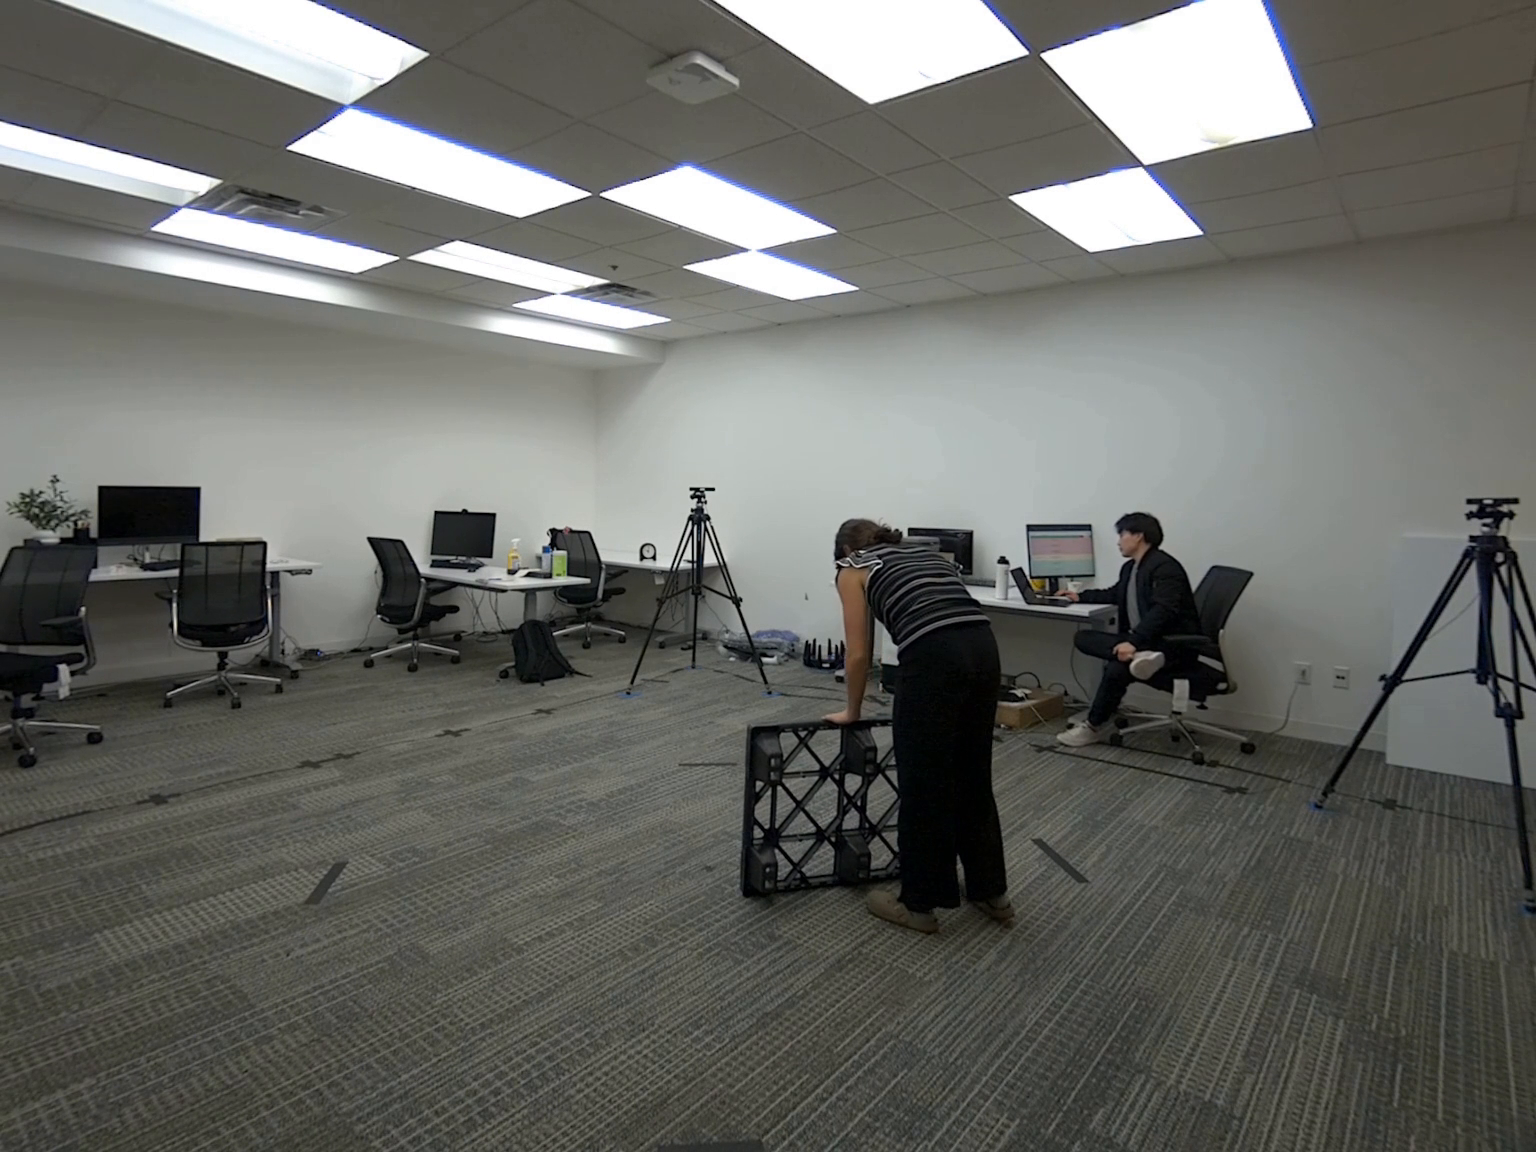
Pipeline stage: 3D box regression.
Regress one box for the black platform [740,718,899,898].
[{"bbox_3d":[0.304,0.791,2.949,0.791,0.601,0.147,0,7,-17],"label":"black platform"}]
